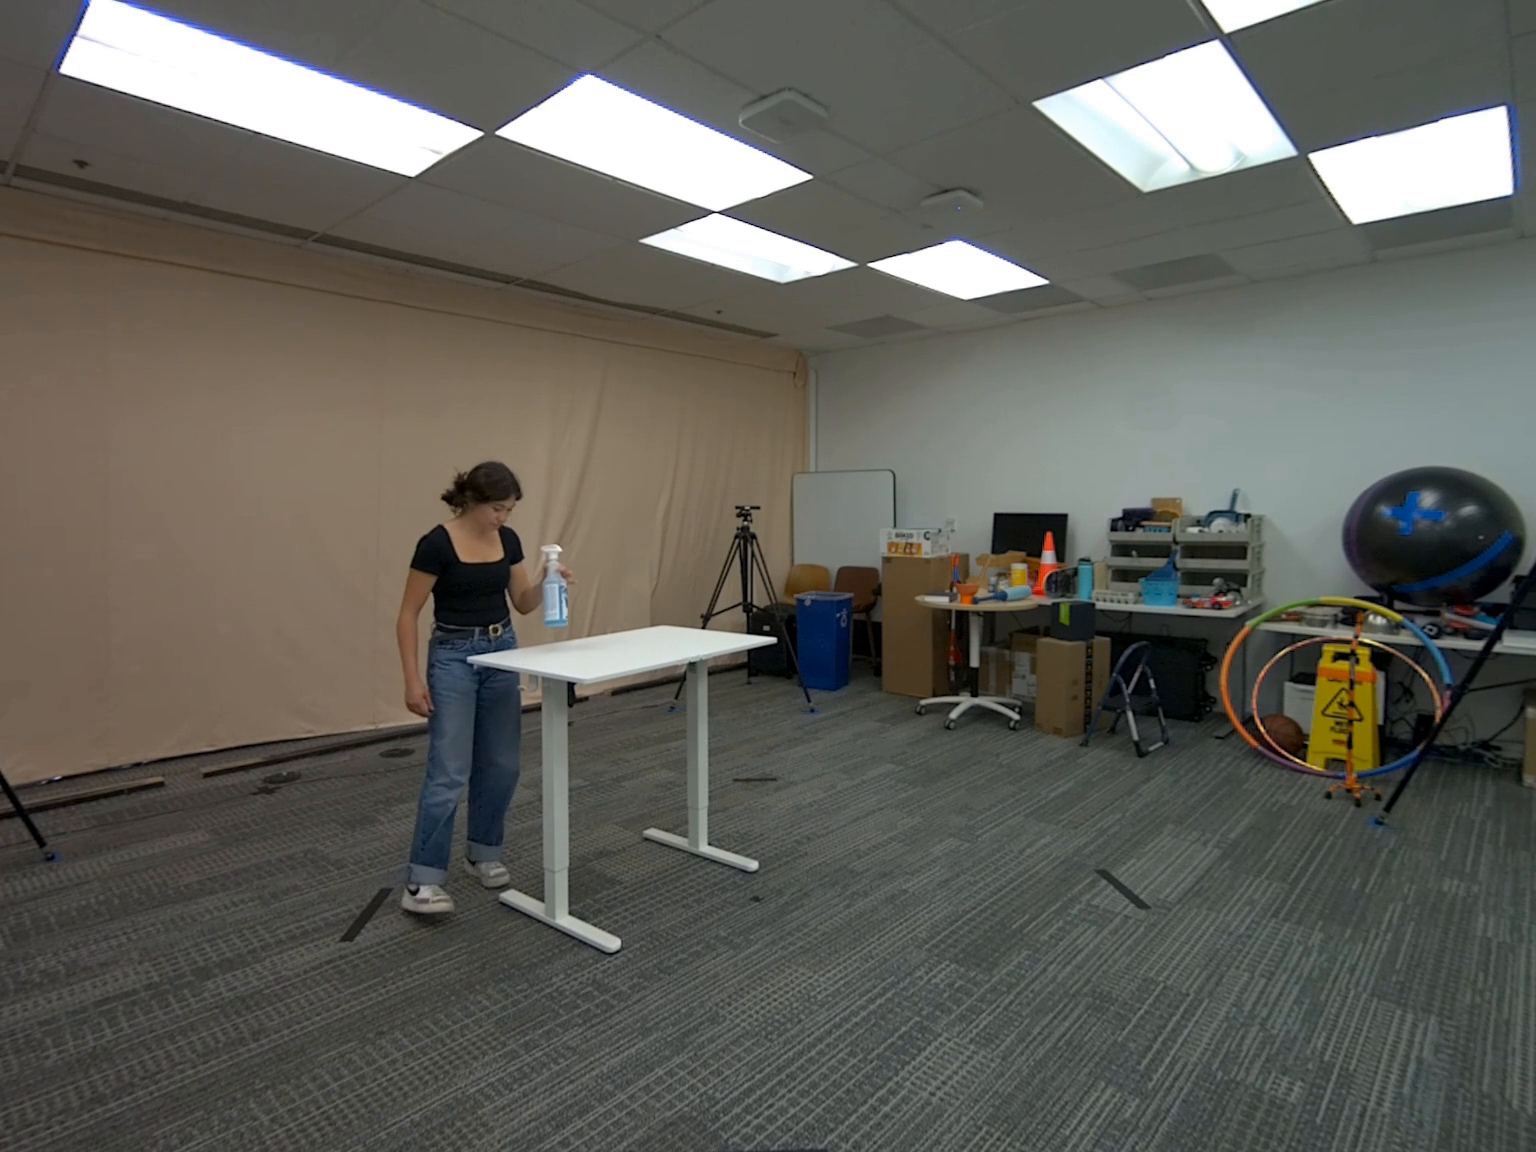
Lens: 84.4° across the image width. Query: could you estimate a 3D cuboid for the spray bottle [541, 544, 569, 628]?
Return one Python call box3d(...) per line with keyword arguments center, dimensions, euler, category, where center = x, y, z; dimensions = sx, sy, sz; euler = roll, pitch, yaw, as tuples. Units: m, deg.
box3d(center=(-0.779, 0.035, 3.038), dimensions=(0.084, 0.300, 0.092), euler=(3, -14, -41), category="spray bottle")
